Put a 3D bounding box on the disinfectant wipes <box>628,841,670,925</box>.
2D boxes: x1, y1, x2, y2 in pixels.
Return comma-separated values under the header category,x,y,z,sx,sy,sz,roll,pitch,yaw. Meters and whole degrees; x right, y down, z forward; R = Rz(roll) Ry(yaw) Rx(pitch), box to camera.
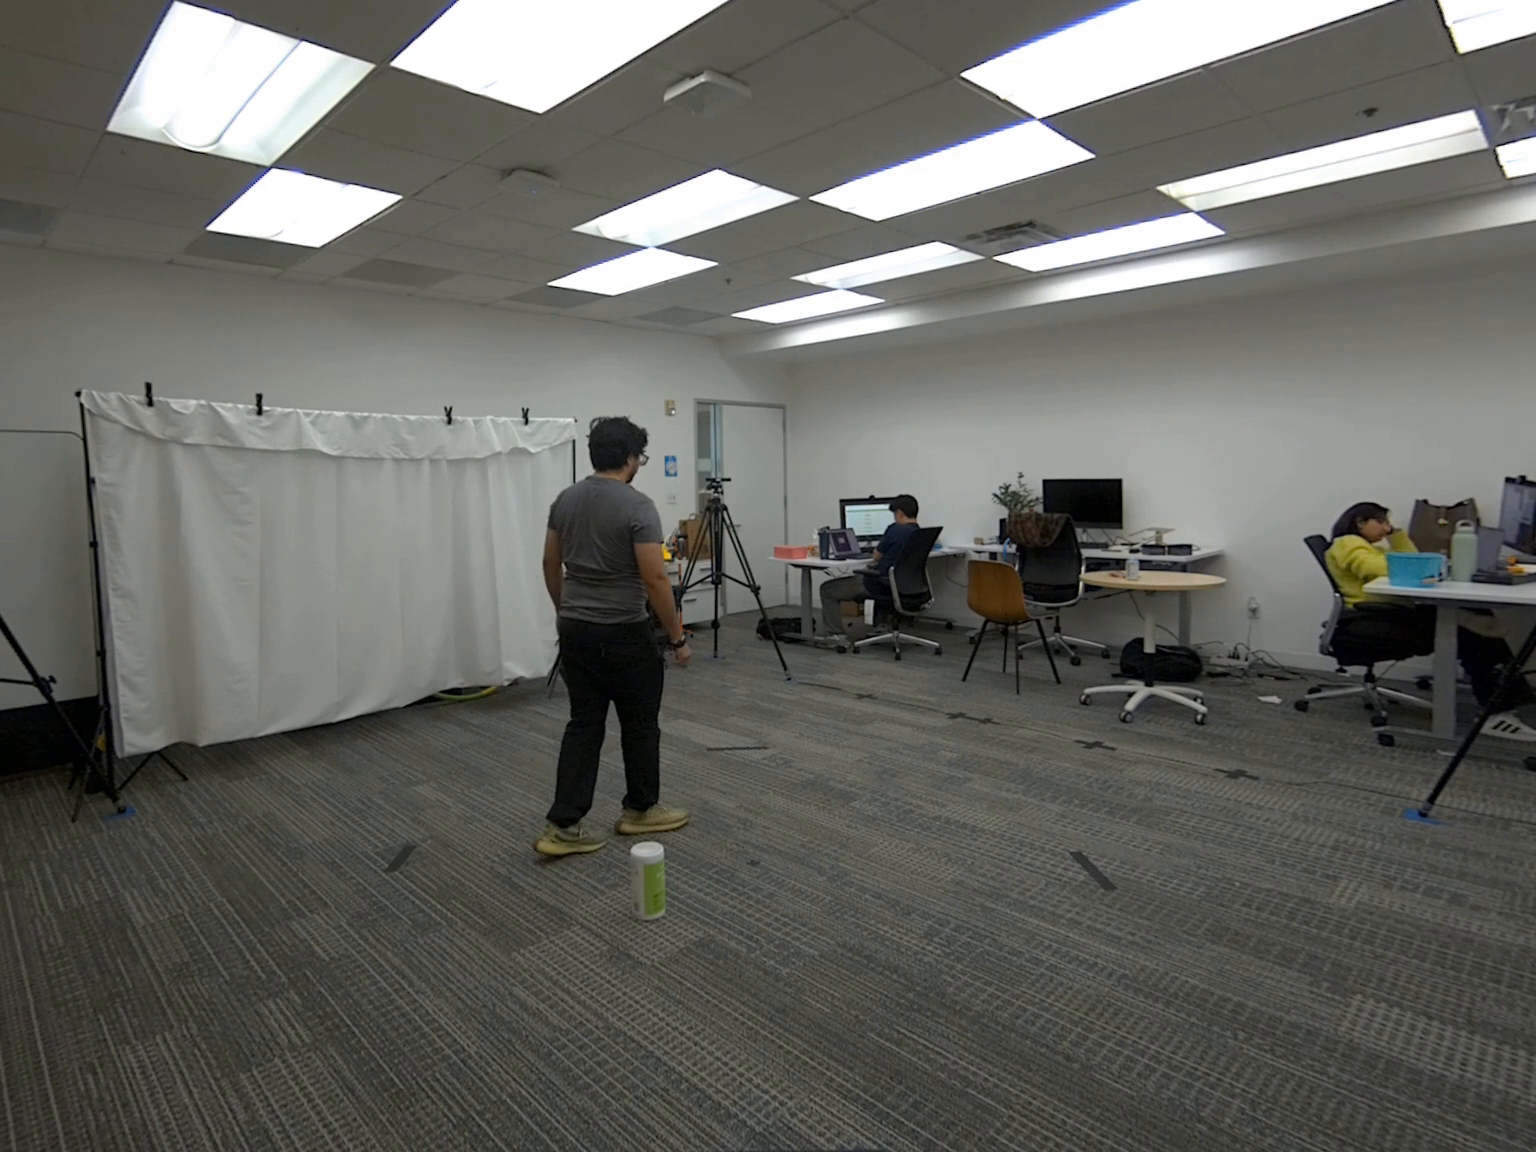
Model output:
category,x,y,z,sx,sy,sz,roll,pitch,yaw
disinfectant wipes,-0.382,0.982,2.752,0.118,0.217,0.118,-1,0,-2
